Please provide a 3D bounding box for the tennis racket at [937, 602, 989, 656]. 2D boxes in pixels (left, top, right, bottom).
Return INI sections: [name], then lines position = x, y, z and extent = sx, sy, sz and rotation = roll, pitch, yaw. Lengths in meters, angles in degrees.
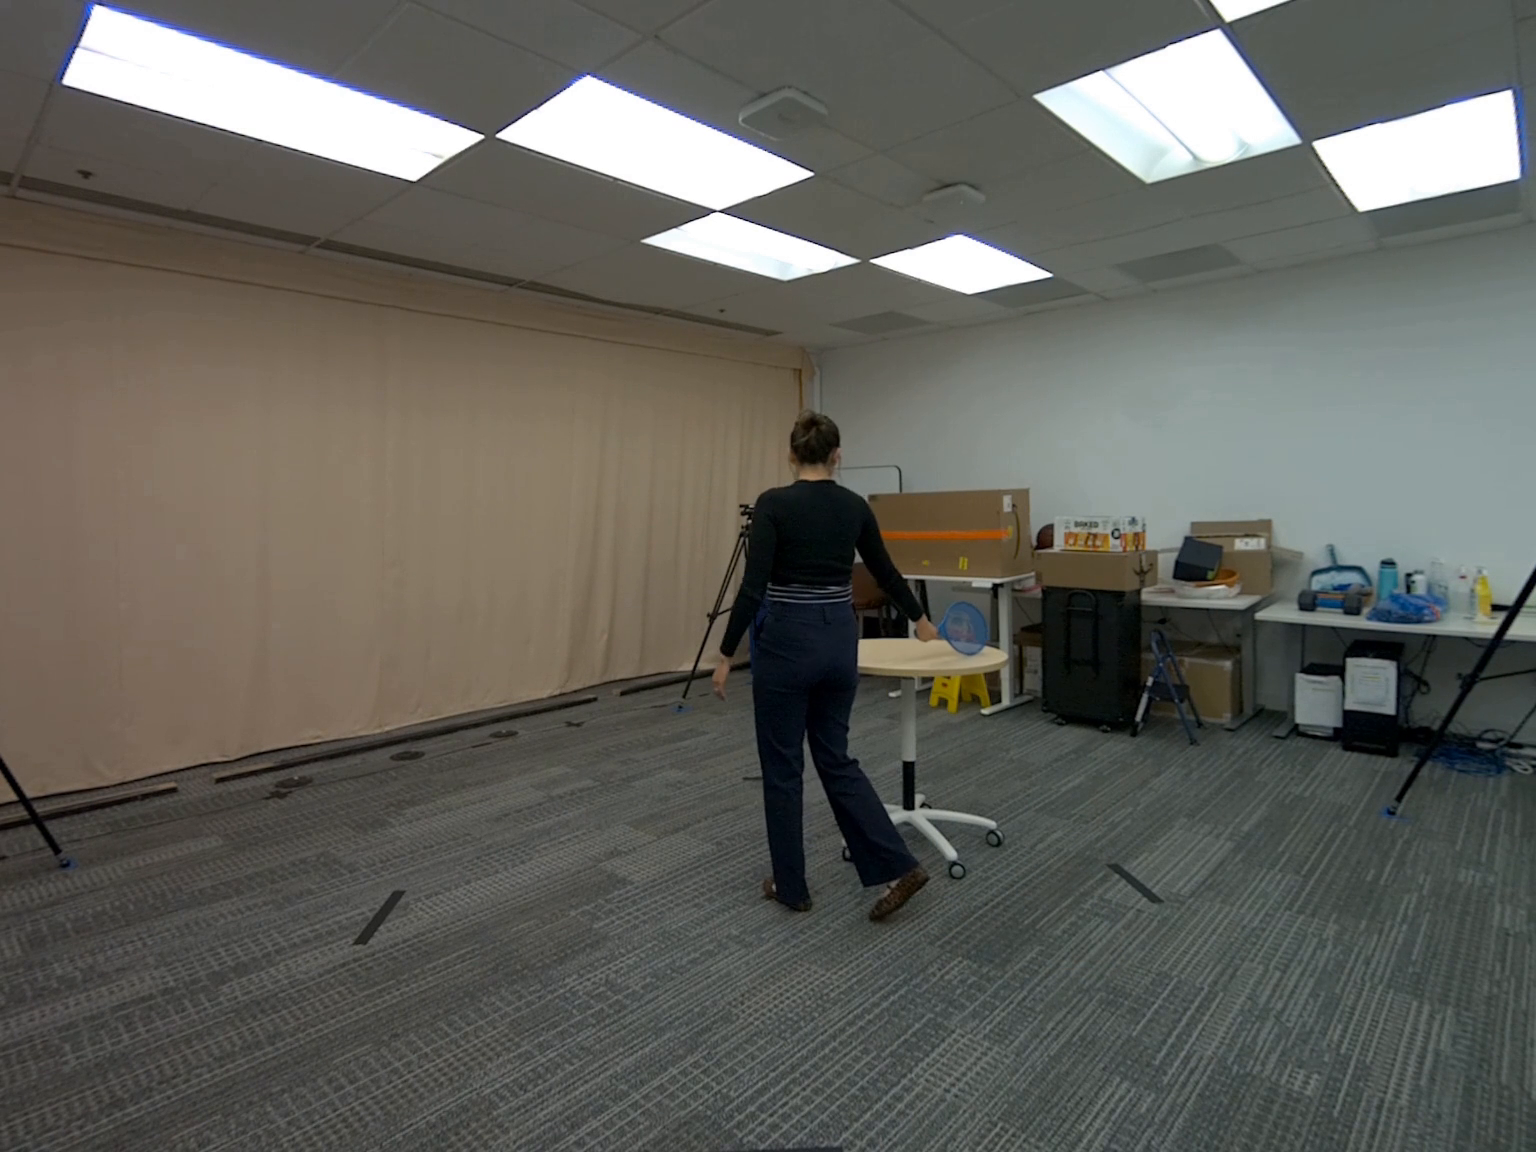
[tennis racket]
position = 0.735, 0.220, 3.293
extent = 0.421, 0.214, 0.032
rotation = -9, -5, -36
